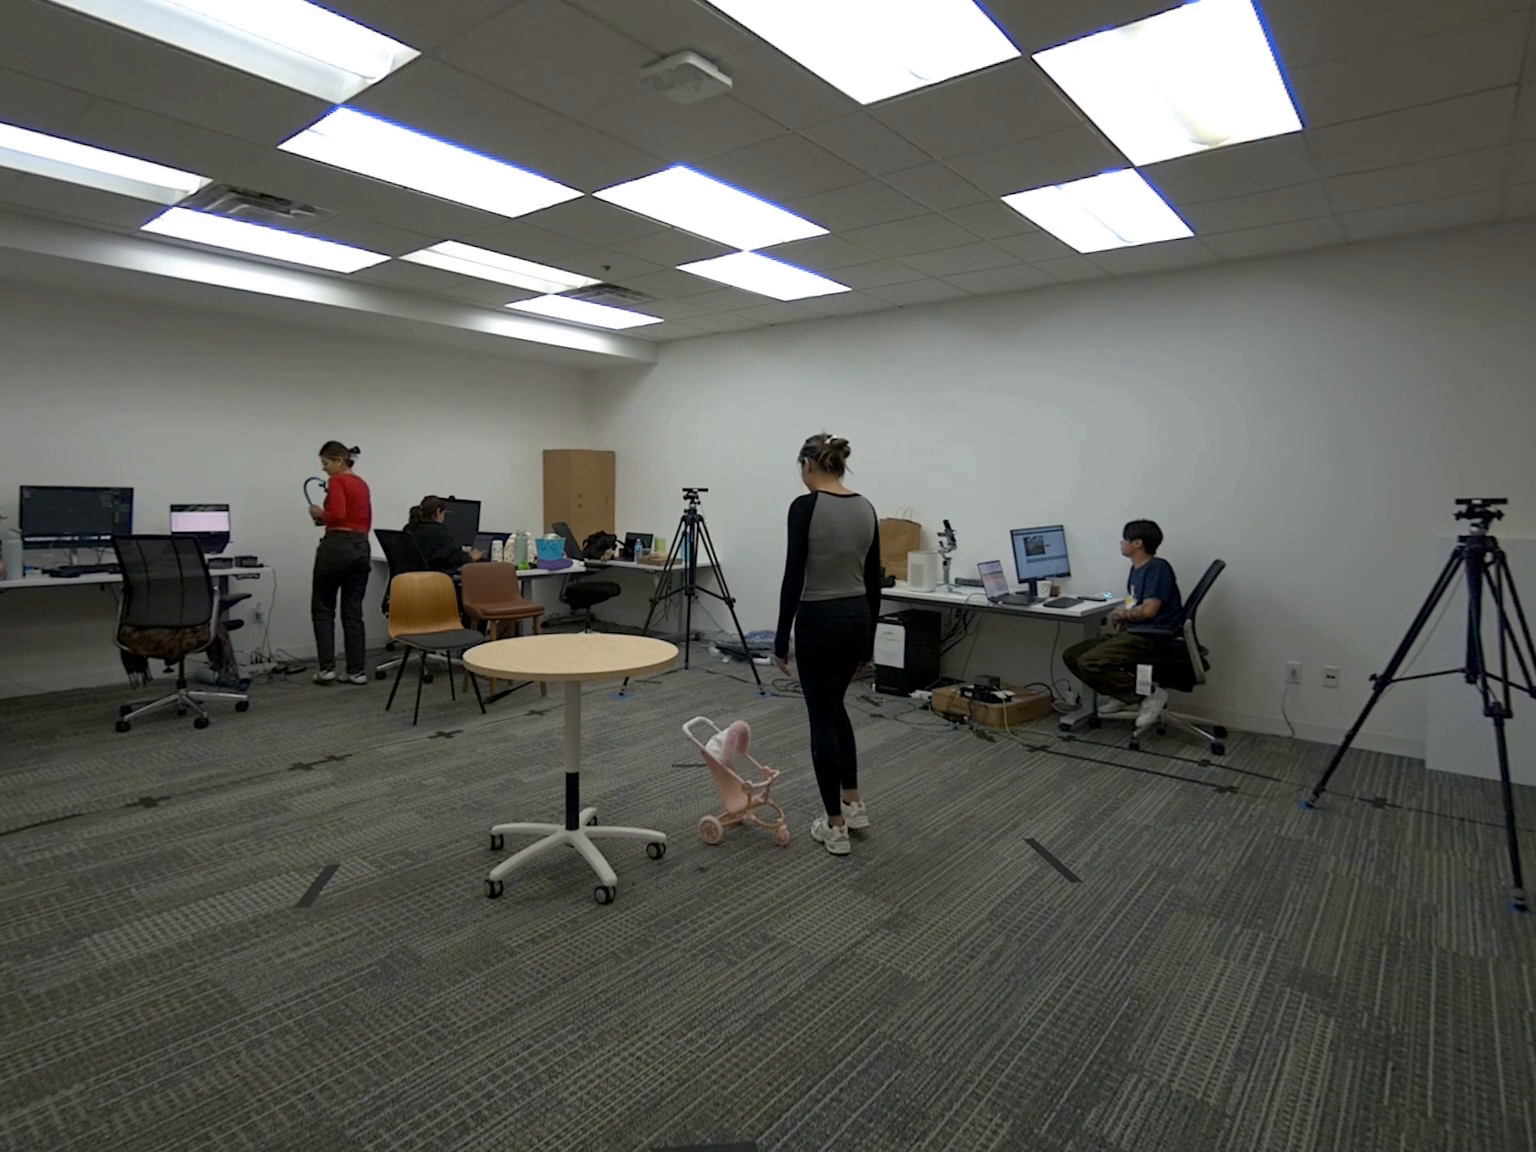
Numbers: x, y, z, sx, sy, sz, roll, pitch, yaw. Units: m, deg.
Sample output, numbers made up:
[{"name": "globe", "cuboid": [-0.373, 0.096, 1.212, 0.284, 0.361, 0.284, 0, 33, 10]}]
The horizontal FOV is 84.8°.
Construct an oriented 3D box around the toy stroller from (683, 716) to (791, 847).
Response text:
[{"name": "toy stroller", "cuboid": [-0.122, 0.813, 3.408, 0.348, 0.538, 0.274, -14, -4, 28]}]
